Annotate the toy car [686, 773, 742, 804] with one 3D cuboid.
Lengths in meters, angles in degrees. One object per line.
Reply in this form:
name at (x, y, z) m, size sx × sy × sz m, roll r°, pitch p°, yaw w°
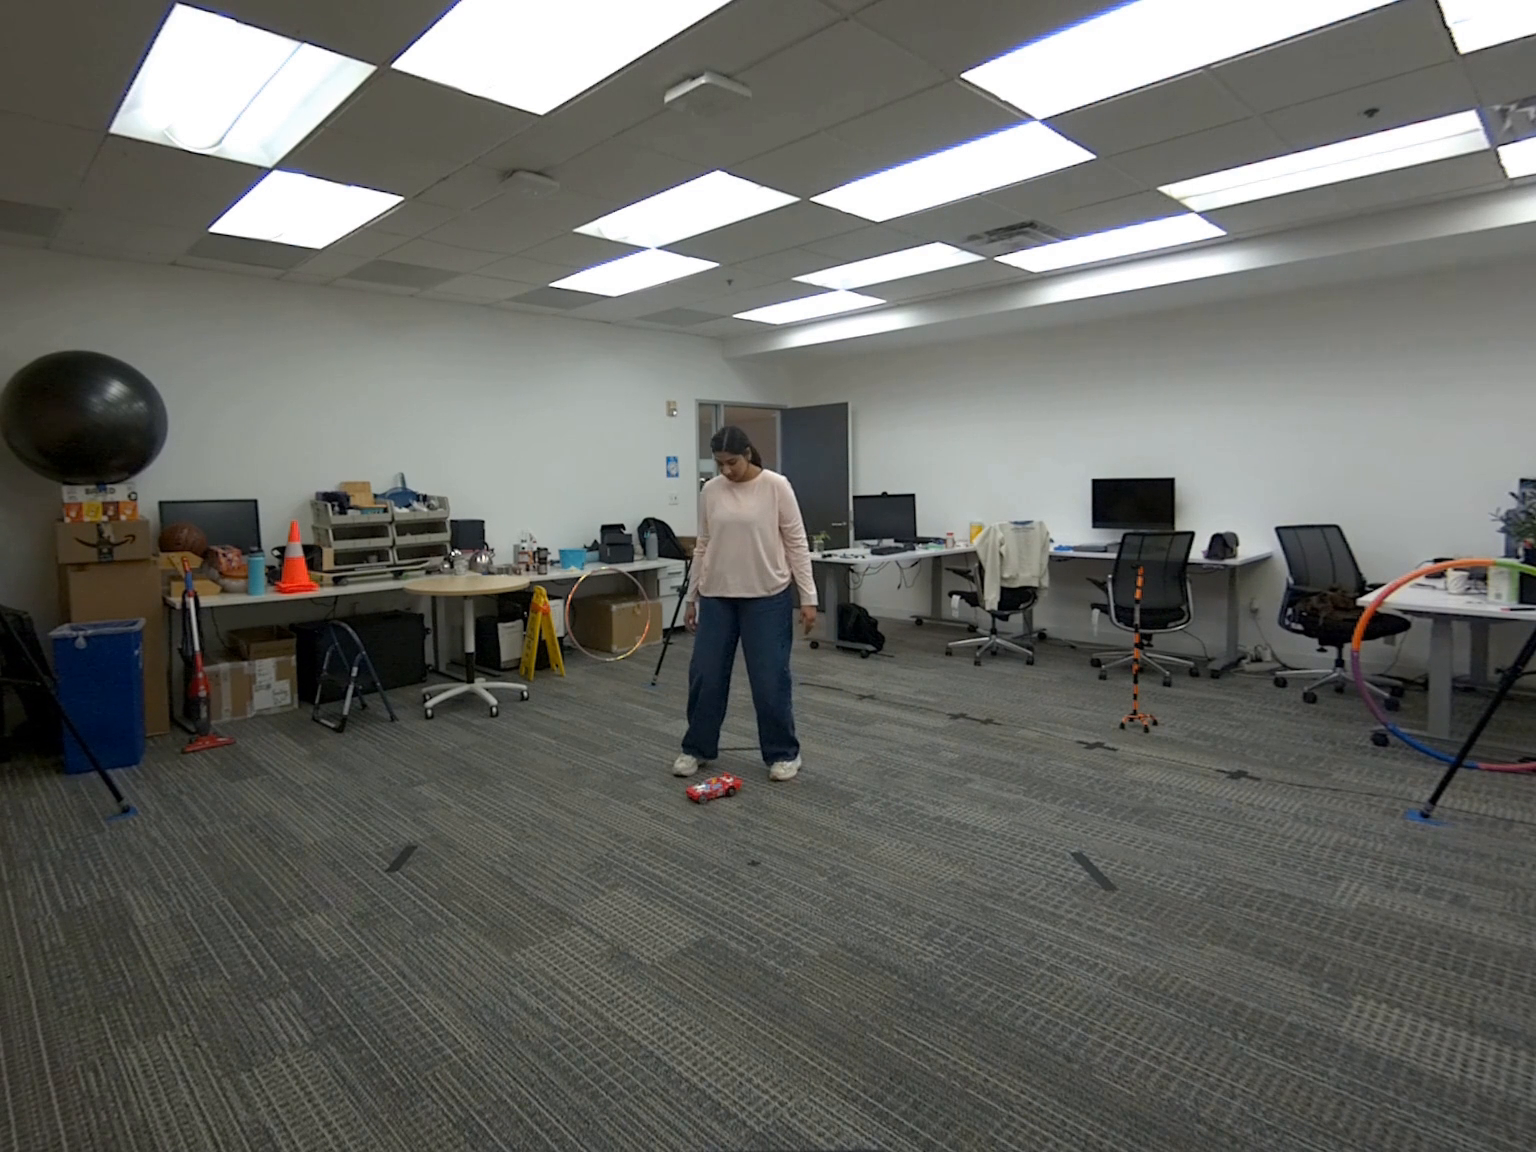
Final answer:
toy car at (-0.234, 0.941, 3.781) m, size 0.250 × 0.082 × 0.134 m, roll -17°, pitch 13°, yaw -30°
